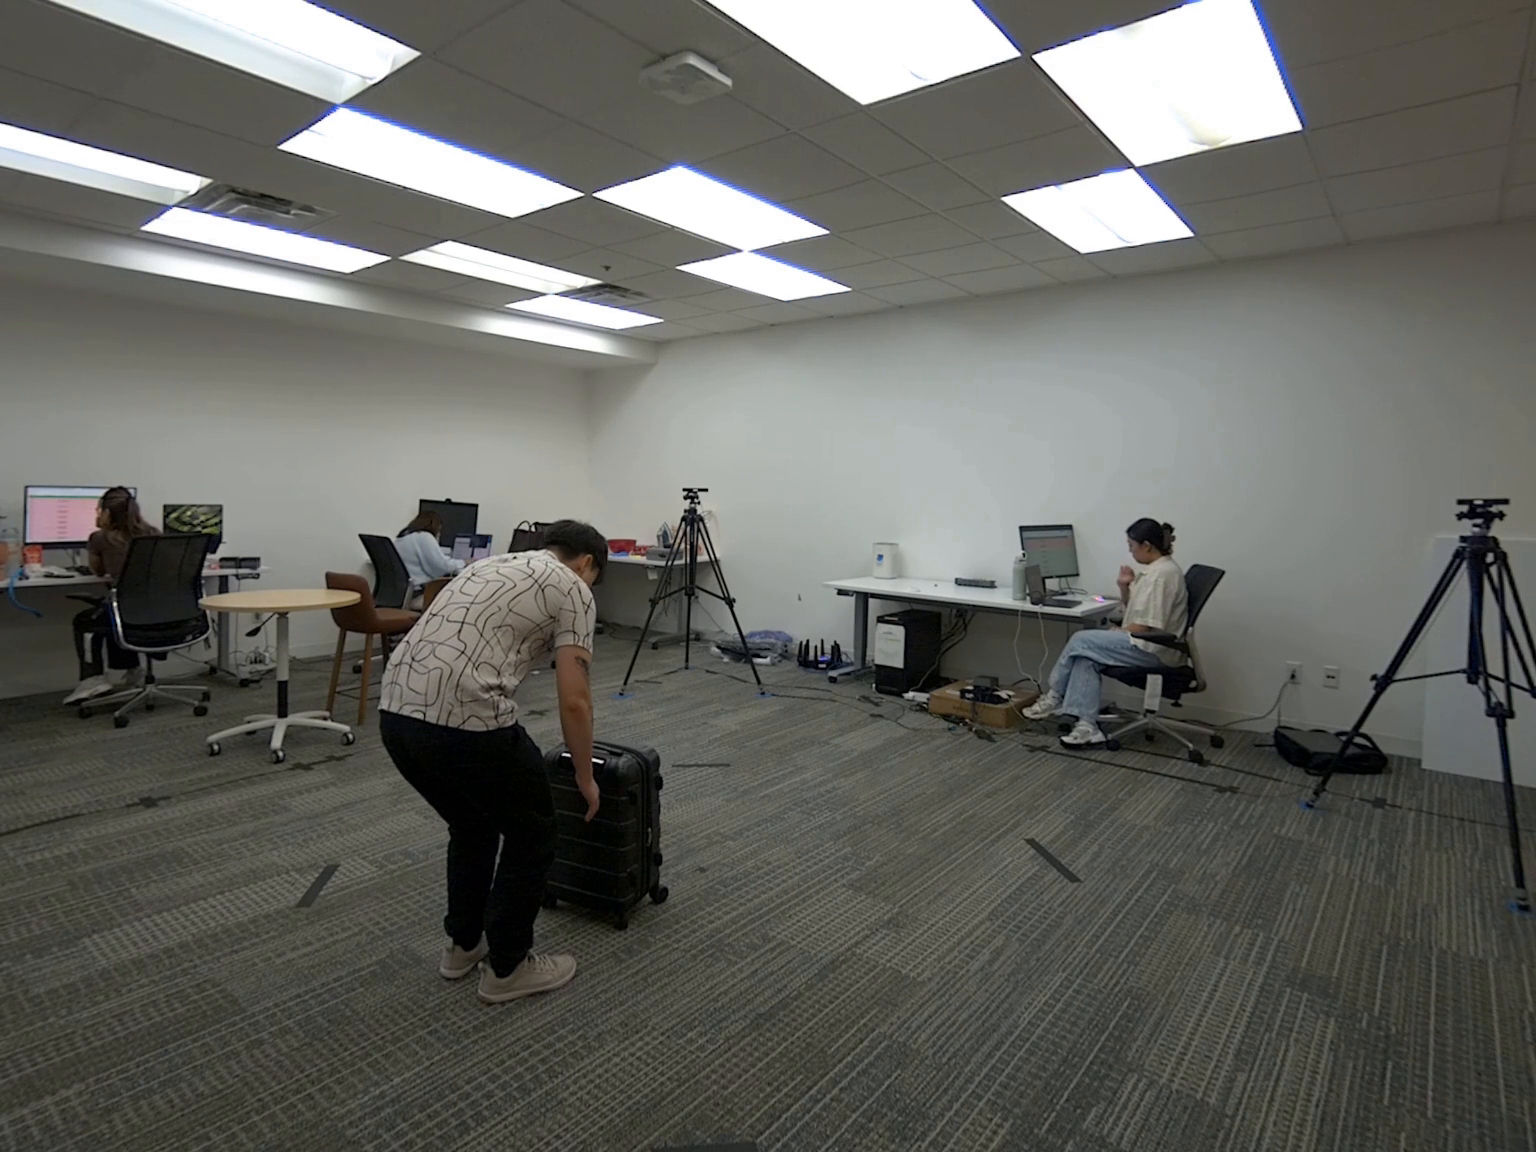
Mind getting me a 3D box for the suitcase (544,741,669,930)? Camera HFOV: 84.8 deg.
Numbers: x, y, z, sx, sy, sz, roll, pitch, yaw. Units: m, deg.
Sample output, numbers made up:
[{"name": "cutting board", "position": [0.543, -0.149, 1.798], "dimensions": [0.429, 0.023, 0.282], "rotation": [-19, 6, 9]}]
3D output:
[{"name": "suitcase", "position": [-0.560, 0.817, 2.806], "dimensions": [0.385, 0.547, 0.243], "rotation": [1, 4, 25]}]
